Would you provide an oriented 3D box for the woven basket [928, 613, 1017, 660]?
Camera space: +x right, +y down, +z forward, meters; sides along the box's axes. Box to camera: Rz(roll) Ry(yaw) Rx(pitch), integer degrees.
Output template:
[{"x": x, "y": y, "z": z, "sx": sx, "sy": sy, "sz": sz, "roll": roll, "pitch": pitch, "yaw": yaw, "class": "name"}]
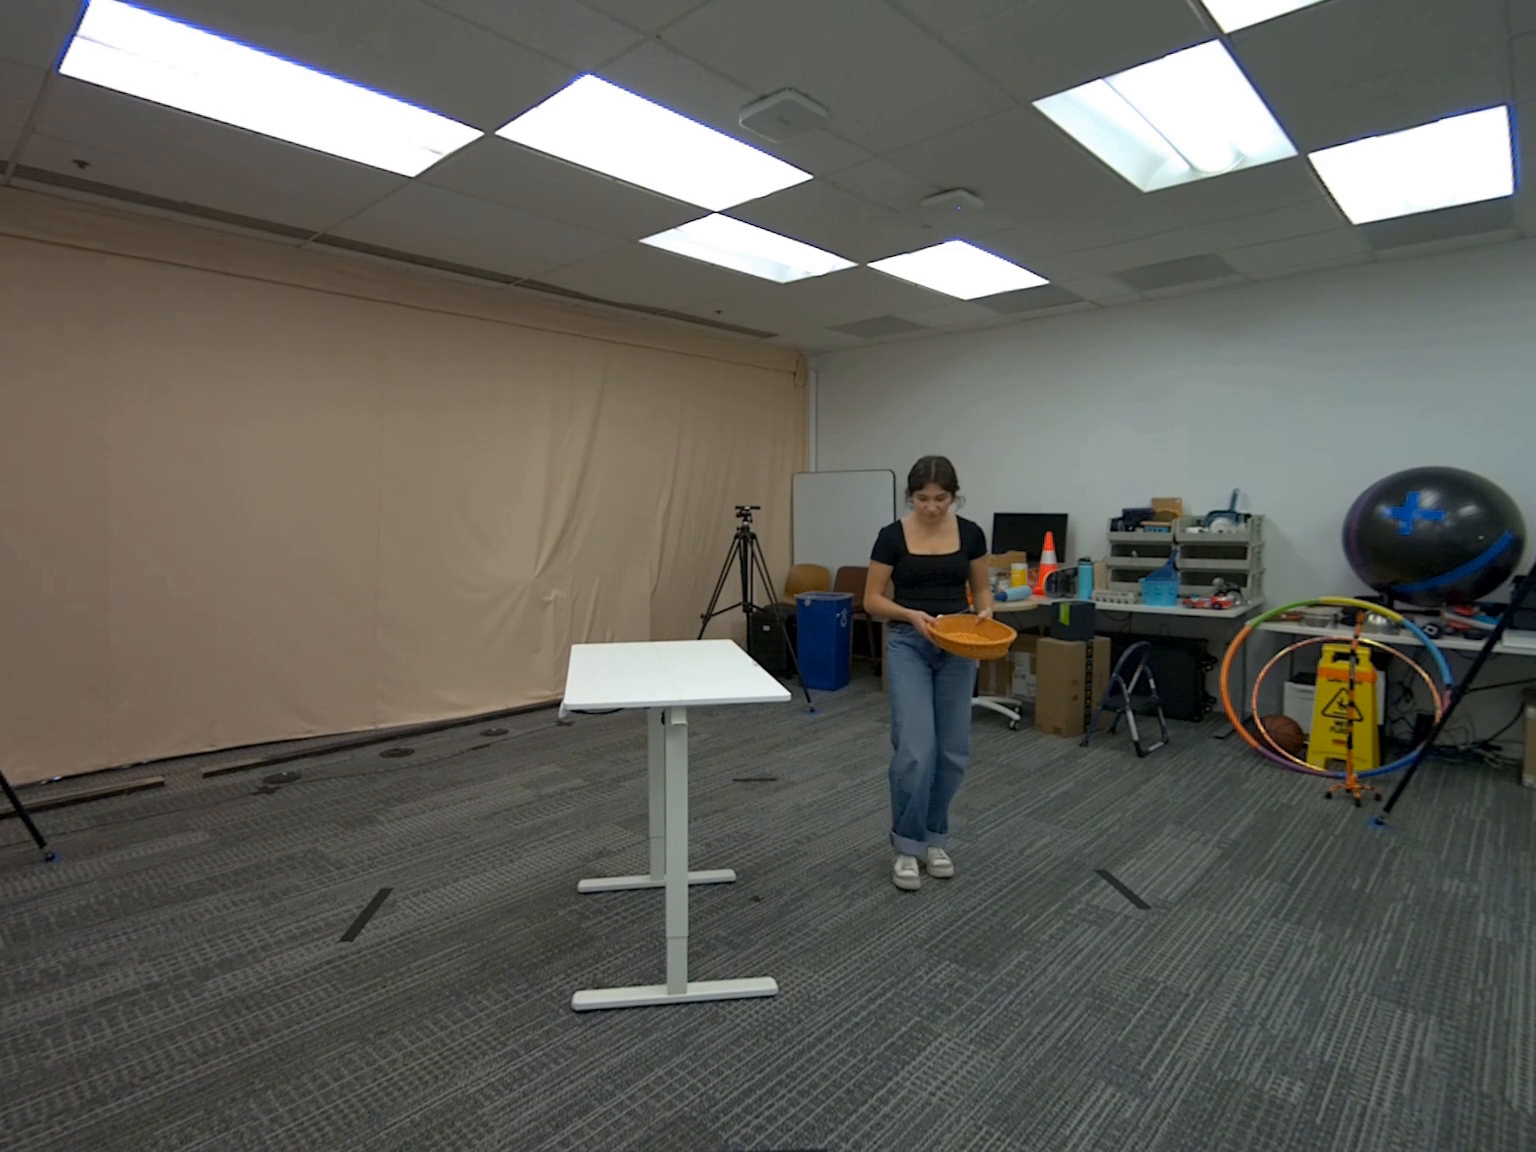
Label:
[{"x": 0.695, "y": 0.216, "z": 2.920, "sx": 0.249, "sy": 0.073, "sz": 0.358, "roll": -7, "pitch": 14, "yaw": -13, "class": "woven basket"}]
